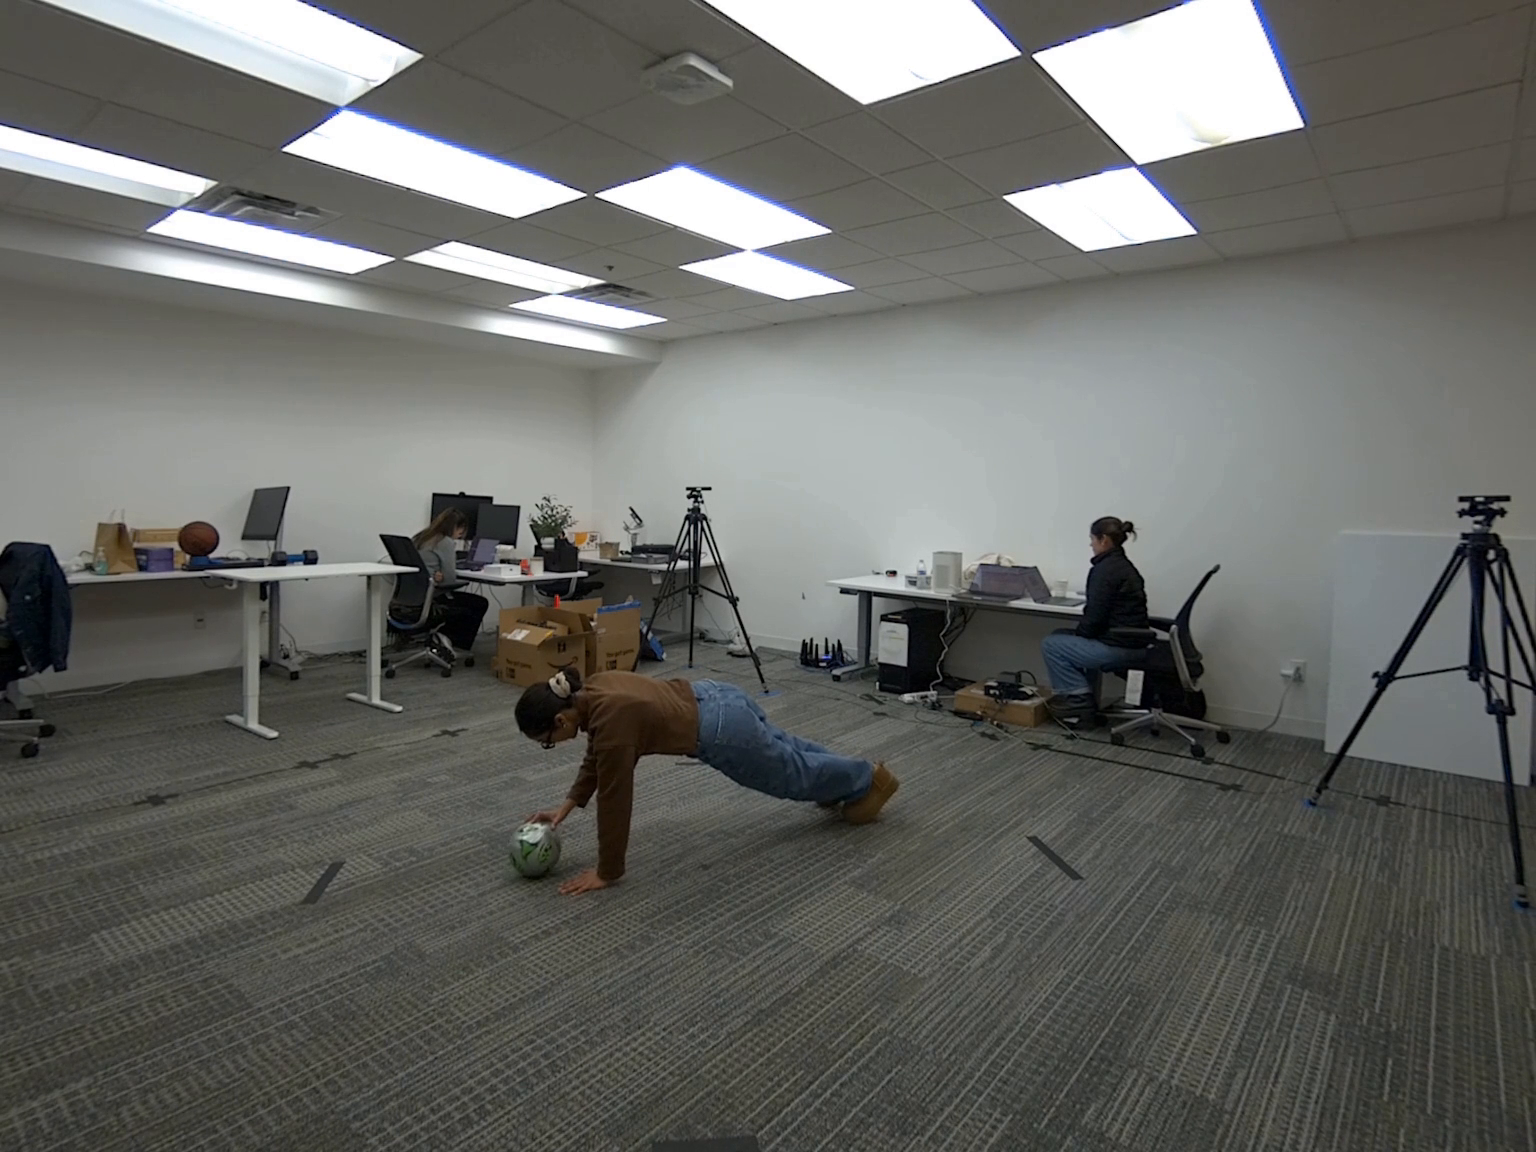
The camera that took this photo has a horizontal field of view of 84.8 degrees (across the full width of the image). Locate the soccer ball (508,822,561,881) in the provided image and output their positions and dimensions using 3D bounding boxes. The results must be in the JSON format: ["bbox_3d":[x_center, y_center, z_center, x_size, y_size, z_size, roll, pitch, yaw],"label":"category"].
[{"bbox_3d":[-0.853,0.982,3.031,0.187,0.187,0.188,1,4,-2],"label":"soccer ball"}]
